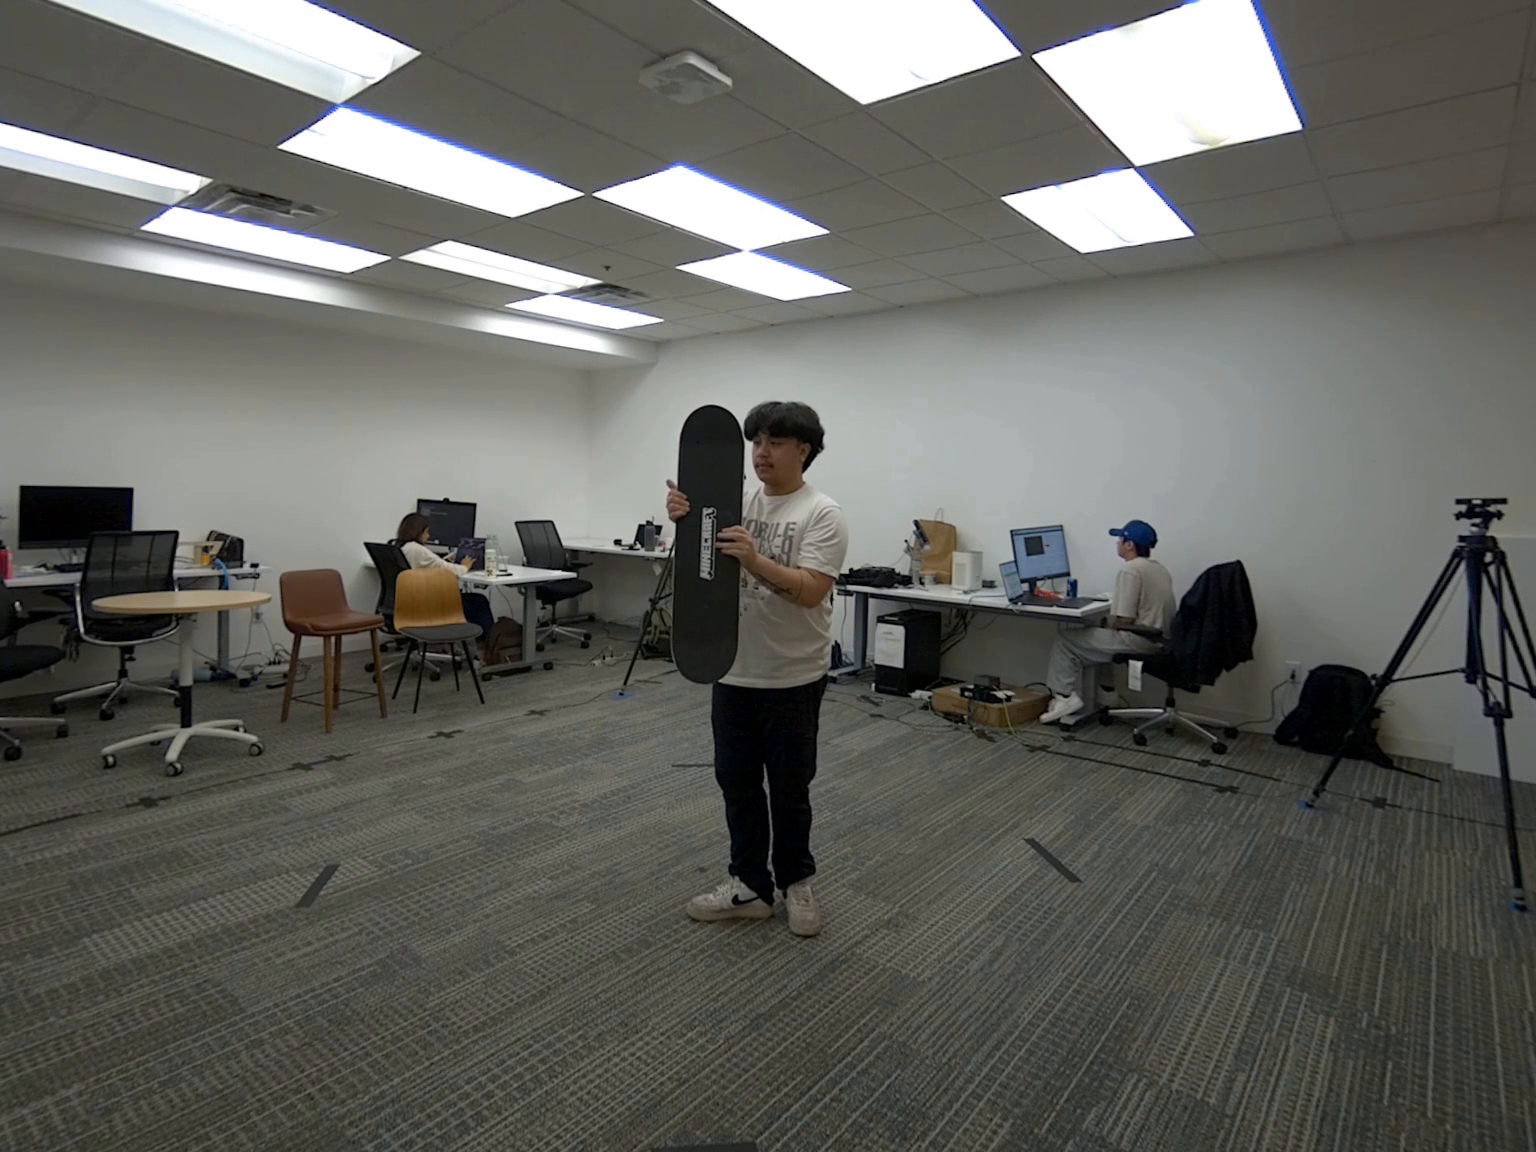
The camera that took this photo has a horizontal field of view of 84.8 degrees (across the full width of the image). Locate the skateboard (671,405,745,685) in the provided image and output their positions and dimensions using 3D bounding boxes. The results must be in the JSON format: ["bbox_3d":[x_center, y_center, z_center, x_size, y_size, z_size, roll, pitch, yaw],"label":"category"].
[{"bbox_3d":[-0.175,-0.094,2.441,0.195,0.789,0.109,1,-5,8],"label":"skateboard"}]
